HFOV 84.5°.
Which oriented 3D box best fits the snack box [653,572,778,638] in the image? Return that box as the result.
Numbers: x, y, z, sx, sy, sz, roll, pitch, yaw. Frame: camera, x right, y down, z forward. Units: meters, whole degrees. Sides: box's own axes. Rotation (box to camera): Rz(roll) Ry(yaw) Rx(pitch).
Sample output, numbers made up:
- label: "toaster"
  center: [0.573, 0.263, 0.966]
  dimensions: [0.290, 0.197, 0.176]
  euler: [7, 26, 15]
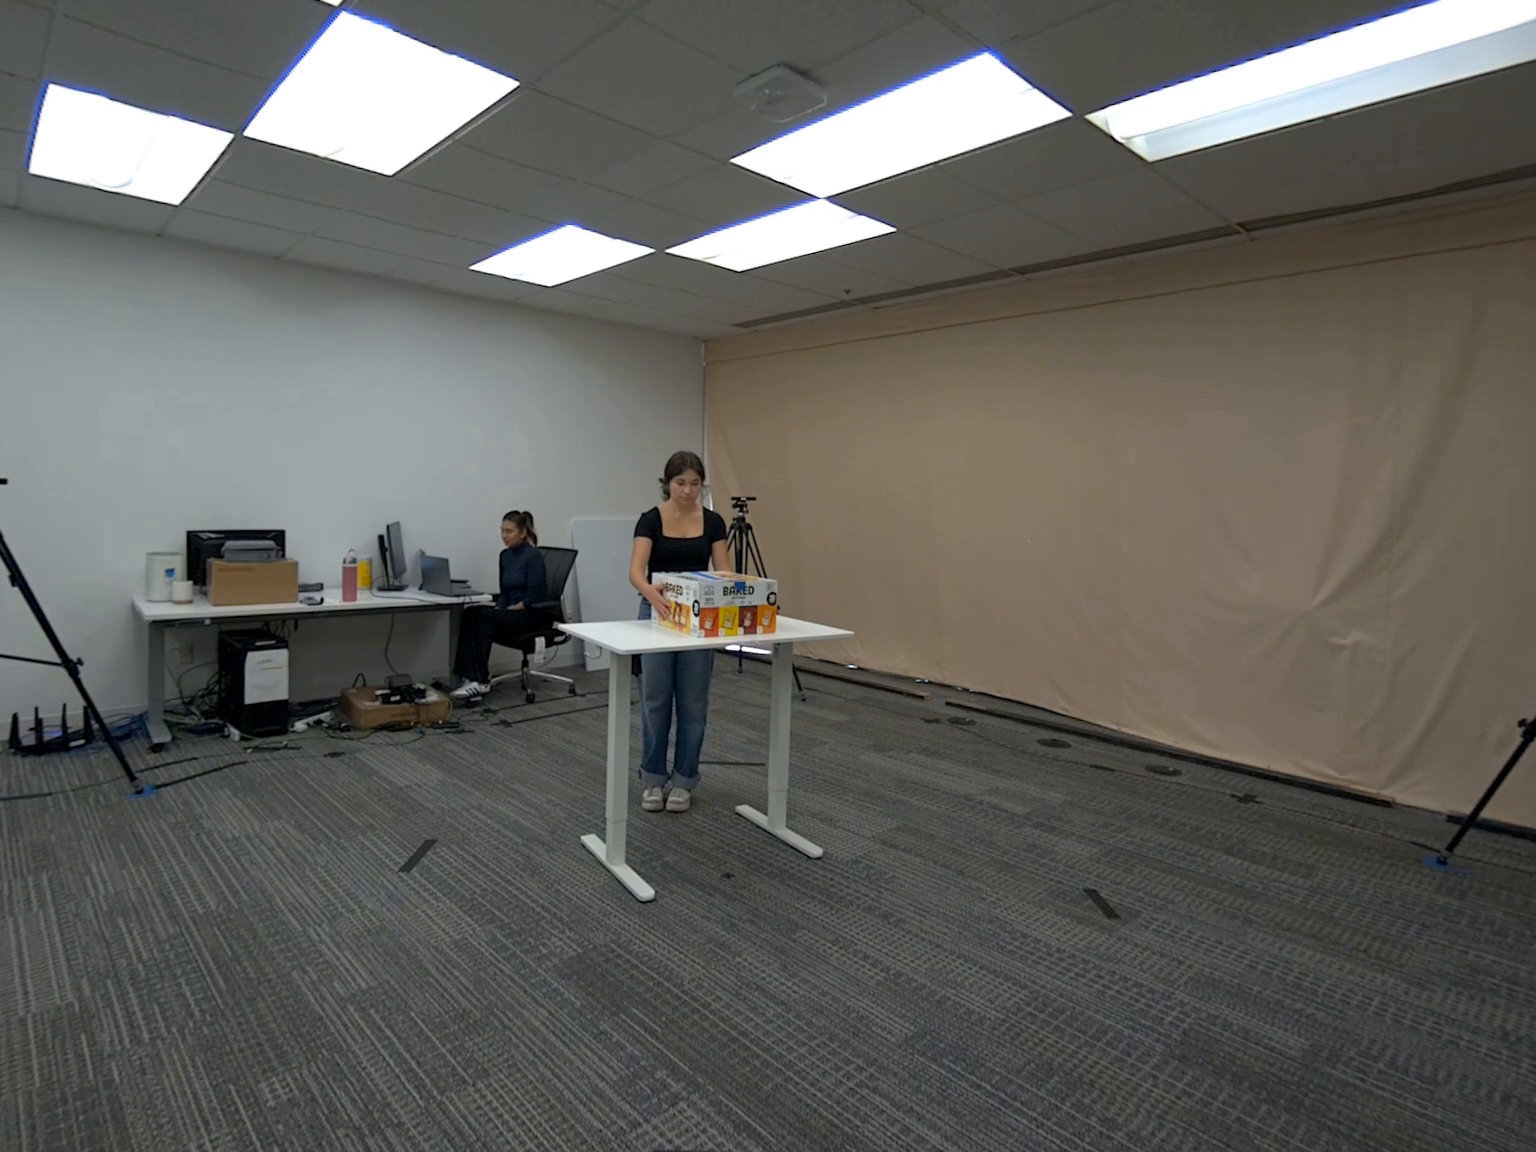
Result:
- label: "snack box"
  center: [-0.225, 0.103, 3.311]
  dimensions: [0.333, 0.205, 0.415]
  euler: [-1, 5, -32]
